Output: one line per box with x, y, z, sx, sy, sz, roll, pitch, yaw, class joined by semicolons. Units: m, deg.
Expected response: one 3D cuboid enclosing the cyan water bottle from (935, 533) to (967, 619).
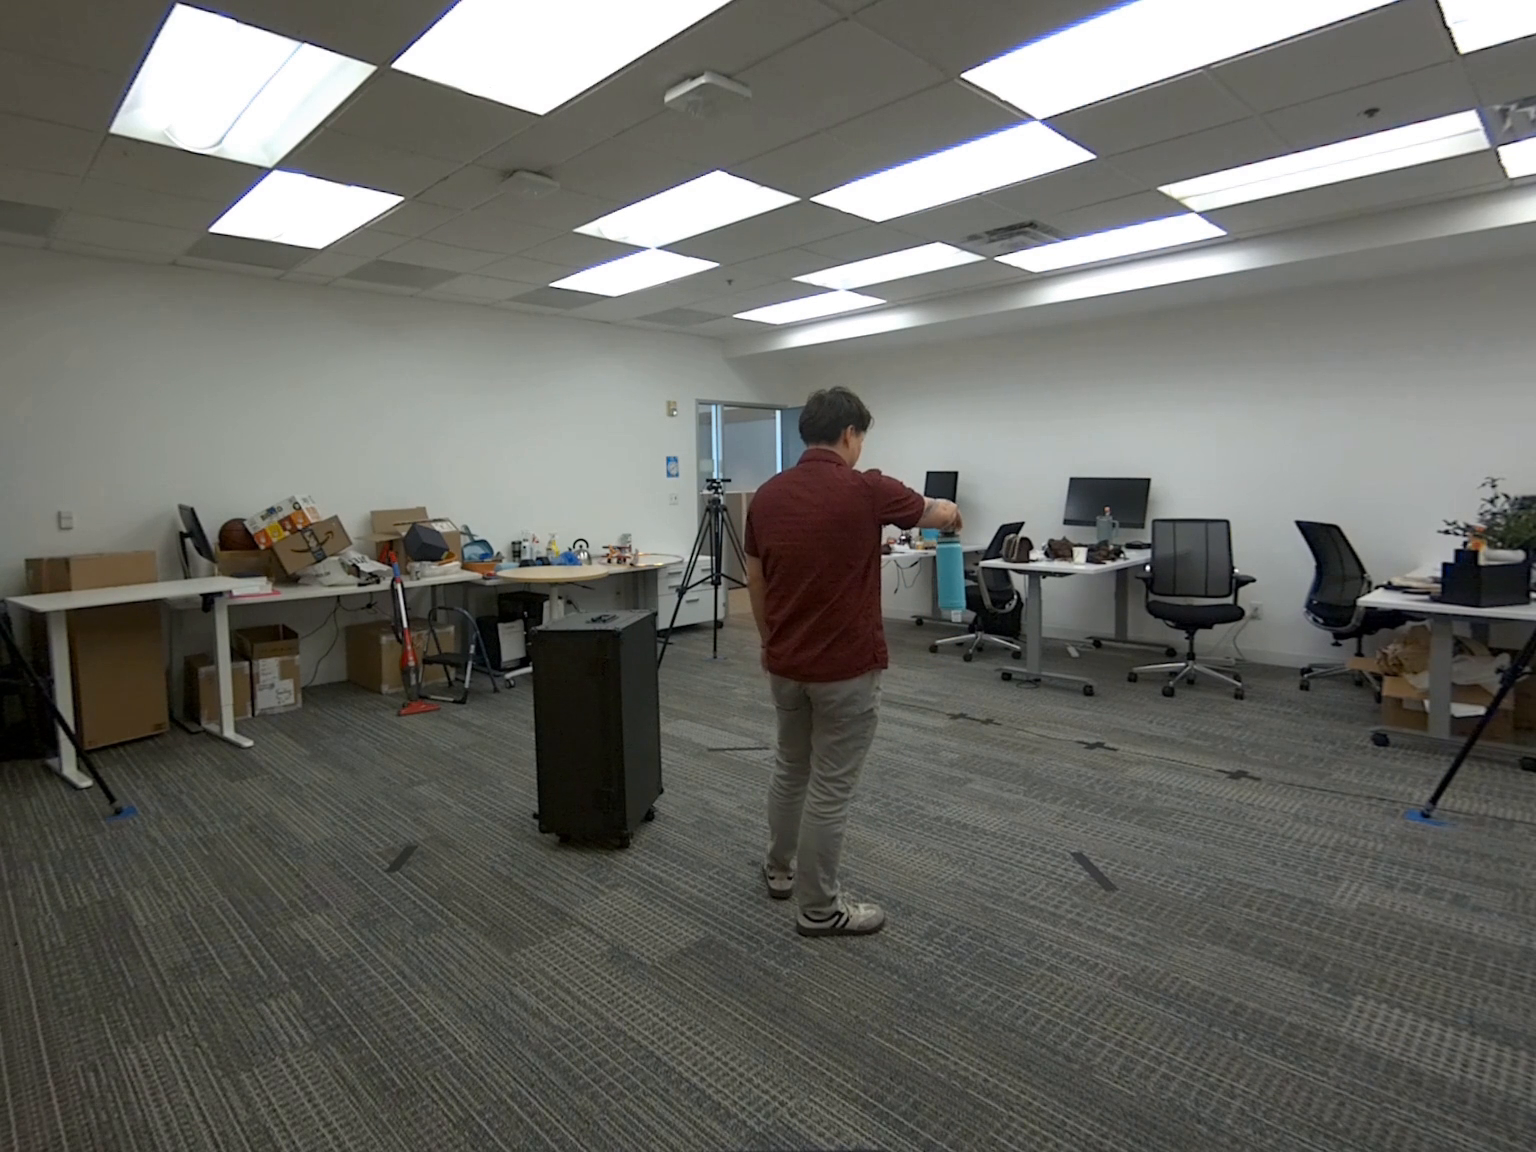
0.630;-0.023;2.947;0.092;0.284;0.092;-3;-2;-2;cyan water bottle
